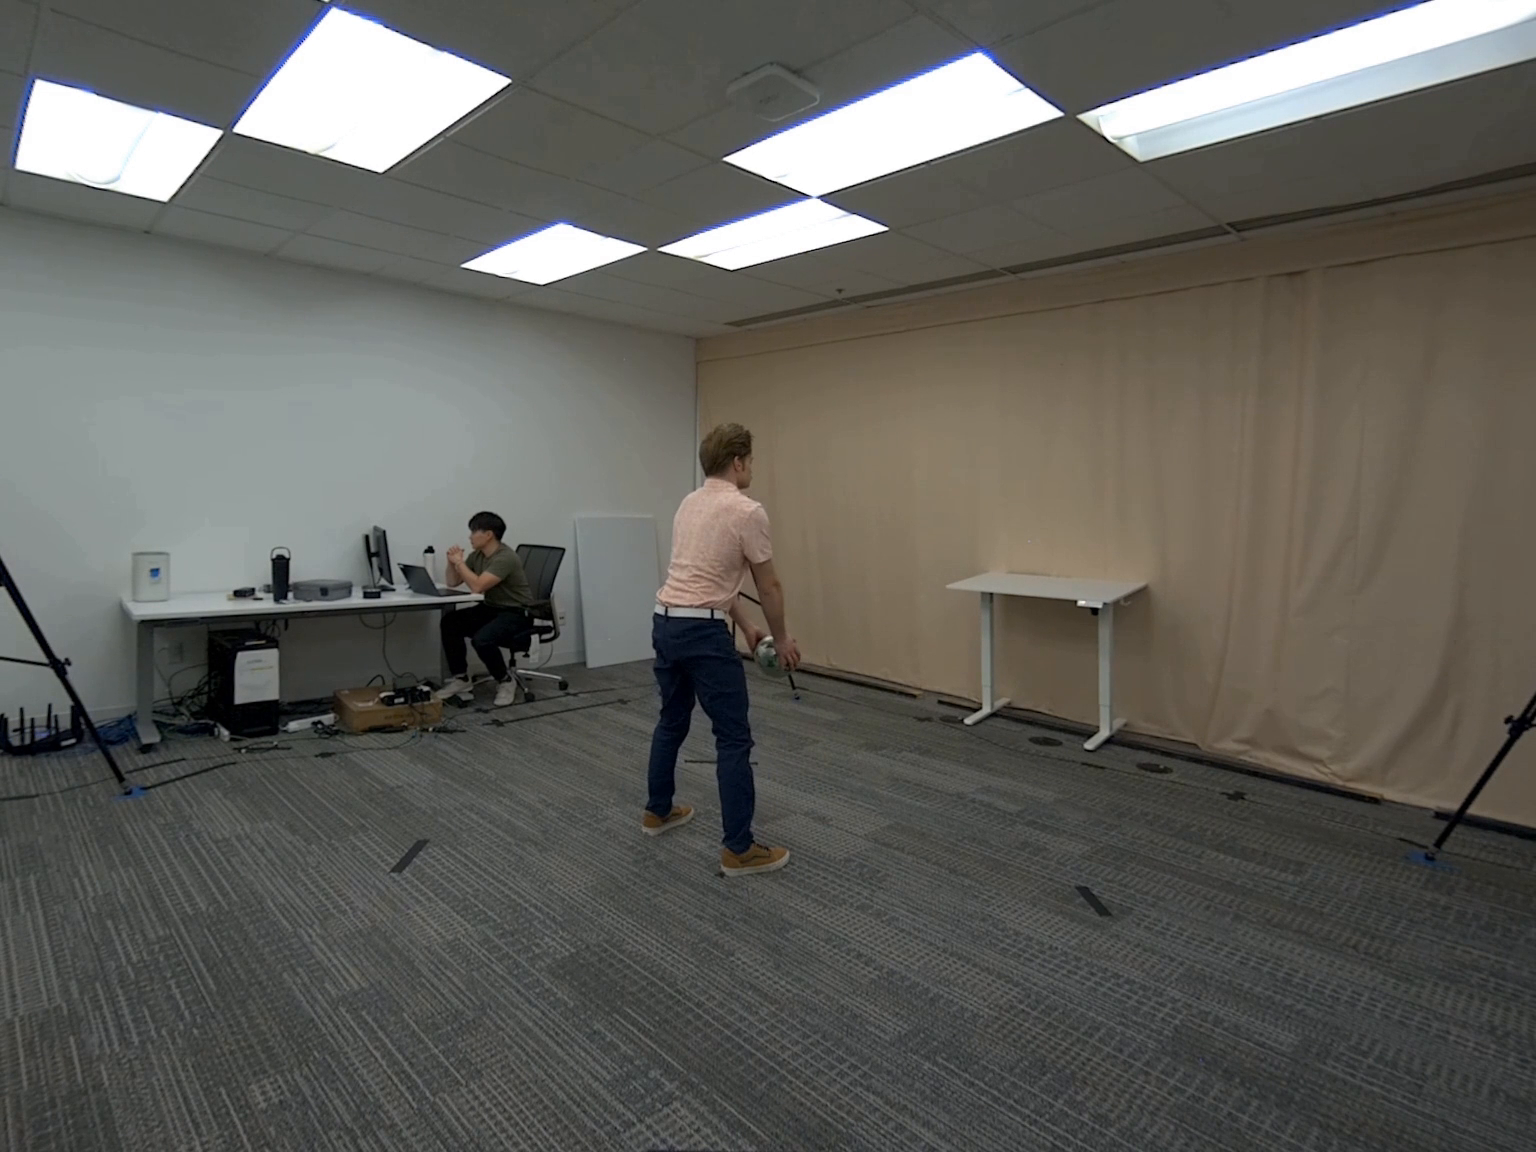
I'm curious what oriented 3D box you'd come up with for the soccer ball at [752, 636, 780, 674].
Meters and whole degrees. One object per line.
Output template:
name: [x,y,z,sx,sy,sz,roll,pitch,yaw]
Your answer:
soccer ball: [0.032,0.337,3.533,0.187,0.187,0.188,1,4,-1]
